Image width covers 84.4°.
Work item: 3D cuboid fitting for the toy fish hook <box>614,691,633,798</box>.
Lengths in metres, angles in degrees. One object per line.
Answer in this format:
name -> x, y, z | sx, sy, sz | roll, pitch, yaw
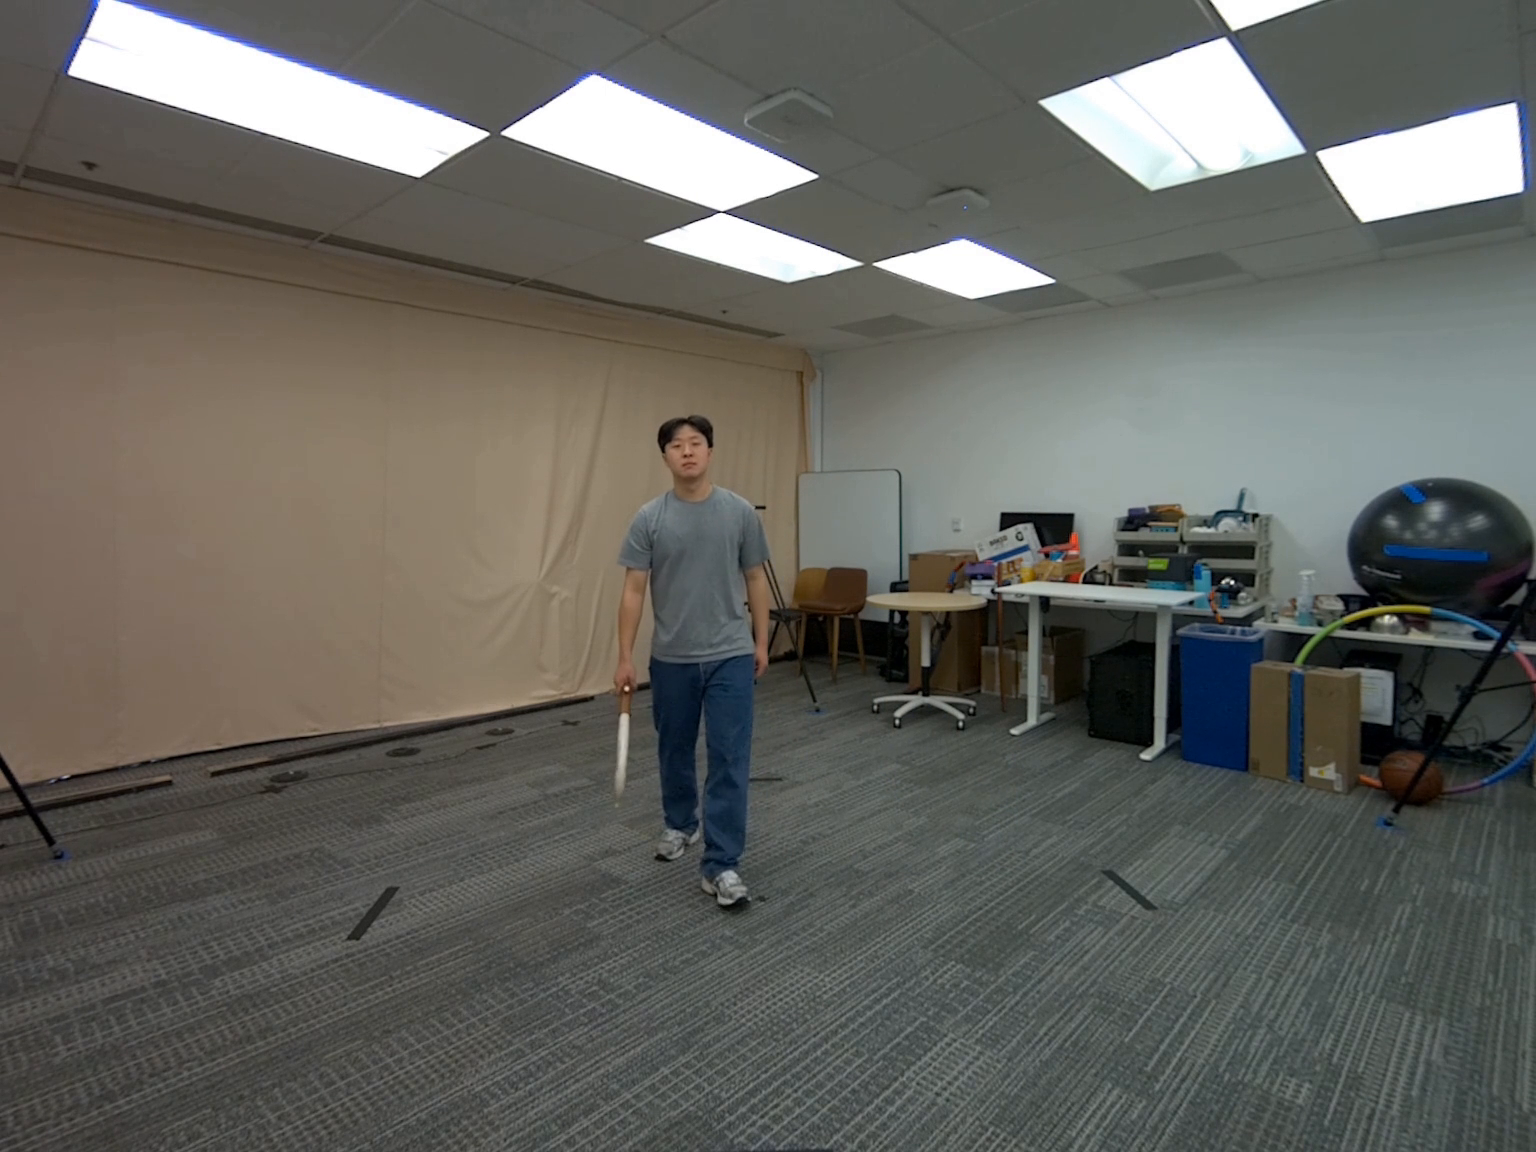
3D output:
toy fish hook -> -0.509, 0.557, 3.001 | 0.048, 0.223, 0.516 | 12, 43, -12
